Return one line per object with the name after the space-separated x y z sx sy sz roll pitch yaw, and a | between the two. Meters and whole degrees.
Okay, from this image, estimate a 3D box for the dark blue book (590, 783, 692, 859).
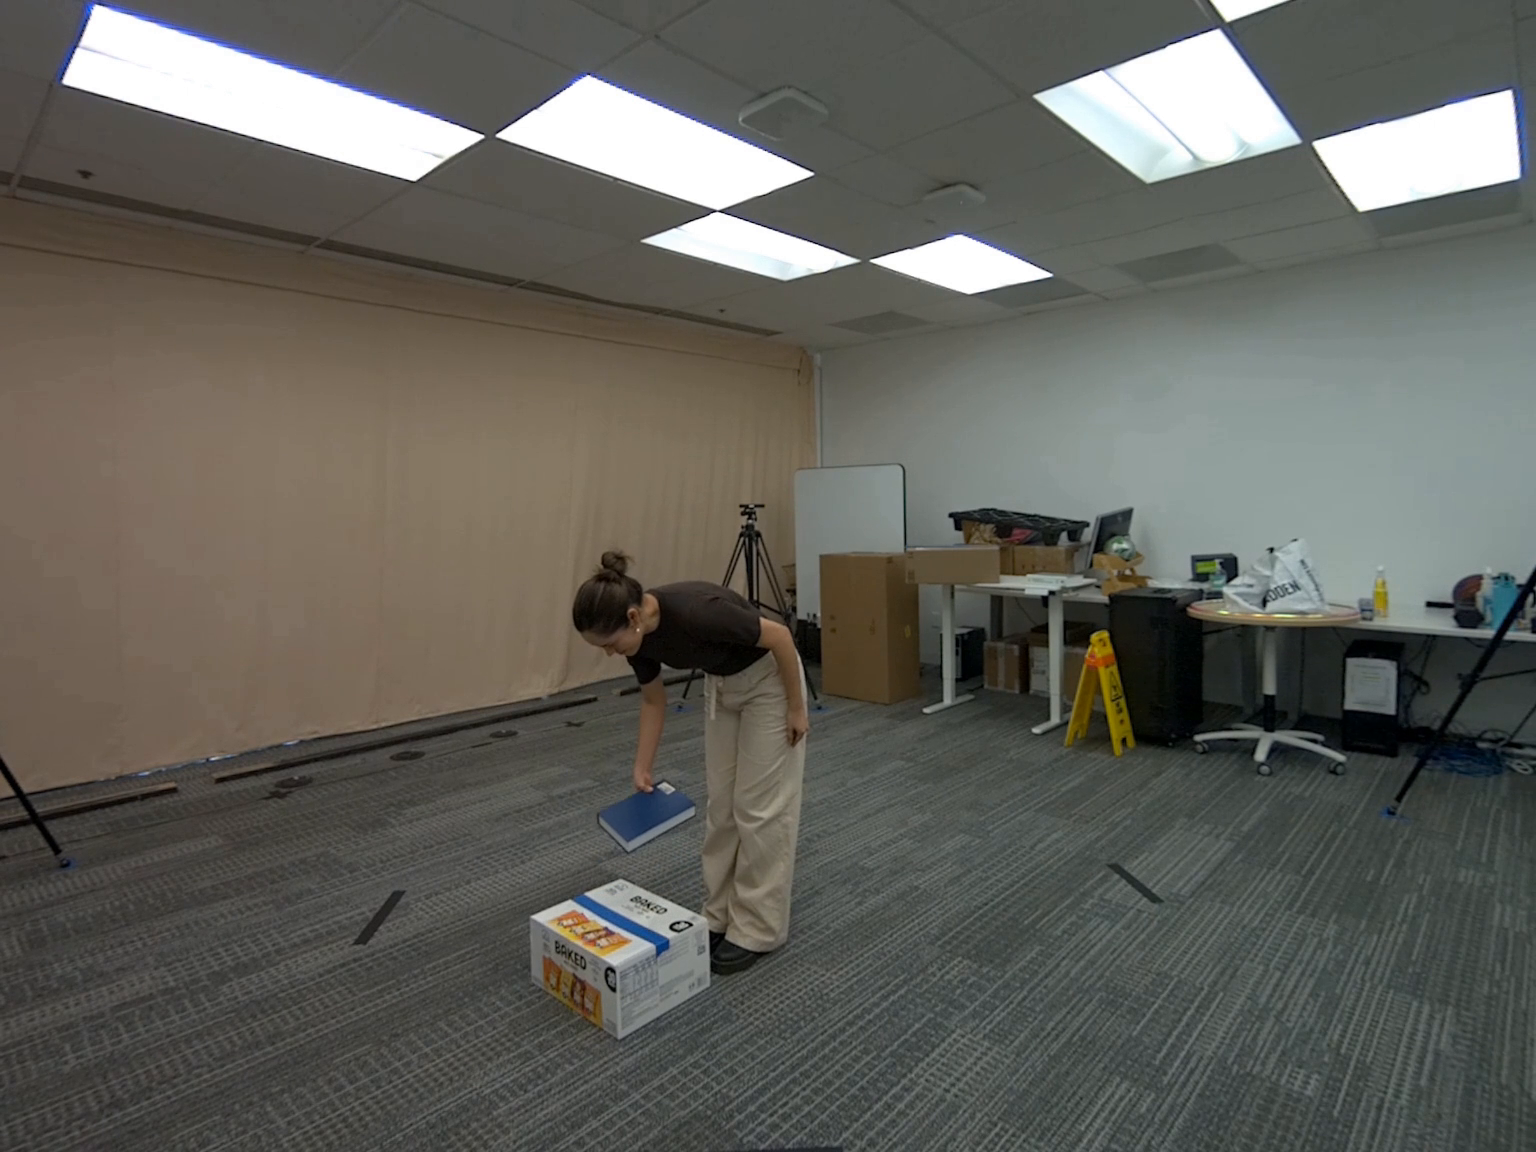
-0.369 0.705 2.466 0.169 0.044 0.239 19 28 41 | dark blue book
